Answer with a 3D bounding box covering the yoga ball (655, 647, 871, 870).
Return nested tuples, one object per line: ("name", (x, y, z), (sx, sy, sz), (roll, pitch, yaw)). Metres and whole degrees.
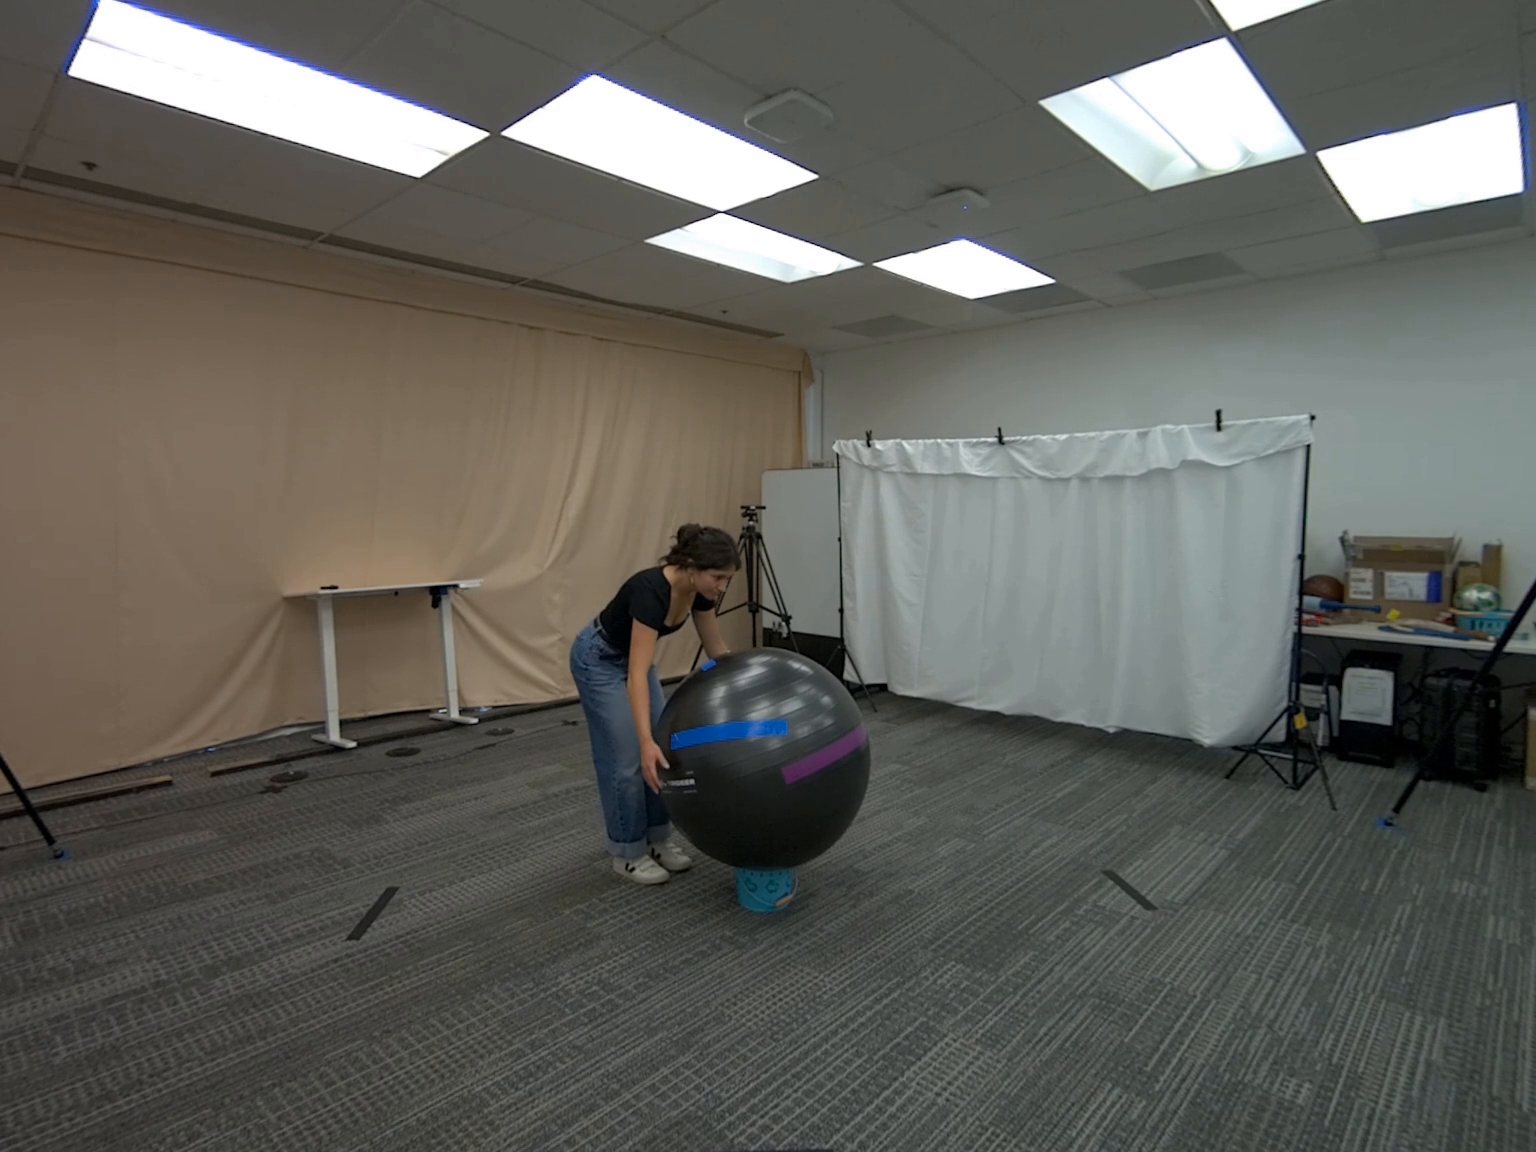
("yoga ball", (-0.030, 0.646, 2.949), (0.757, 0.756, 0.760), (0, 4, -2))
